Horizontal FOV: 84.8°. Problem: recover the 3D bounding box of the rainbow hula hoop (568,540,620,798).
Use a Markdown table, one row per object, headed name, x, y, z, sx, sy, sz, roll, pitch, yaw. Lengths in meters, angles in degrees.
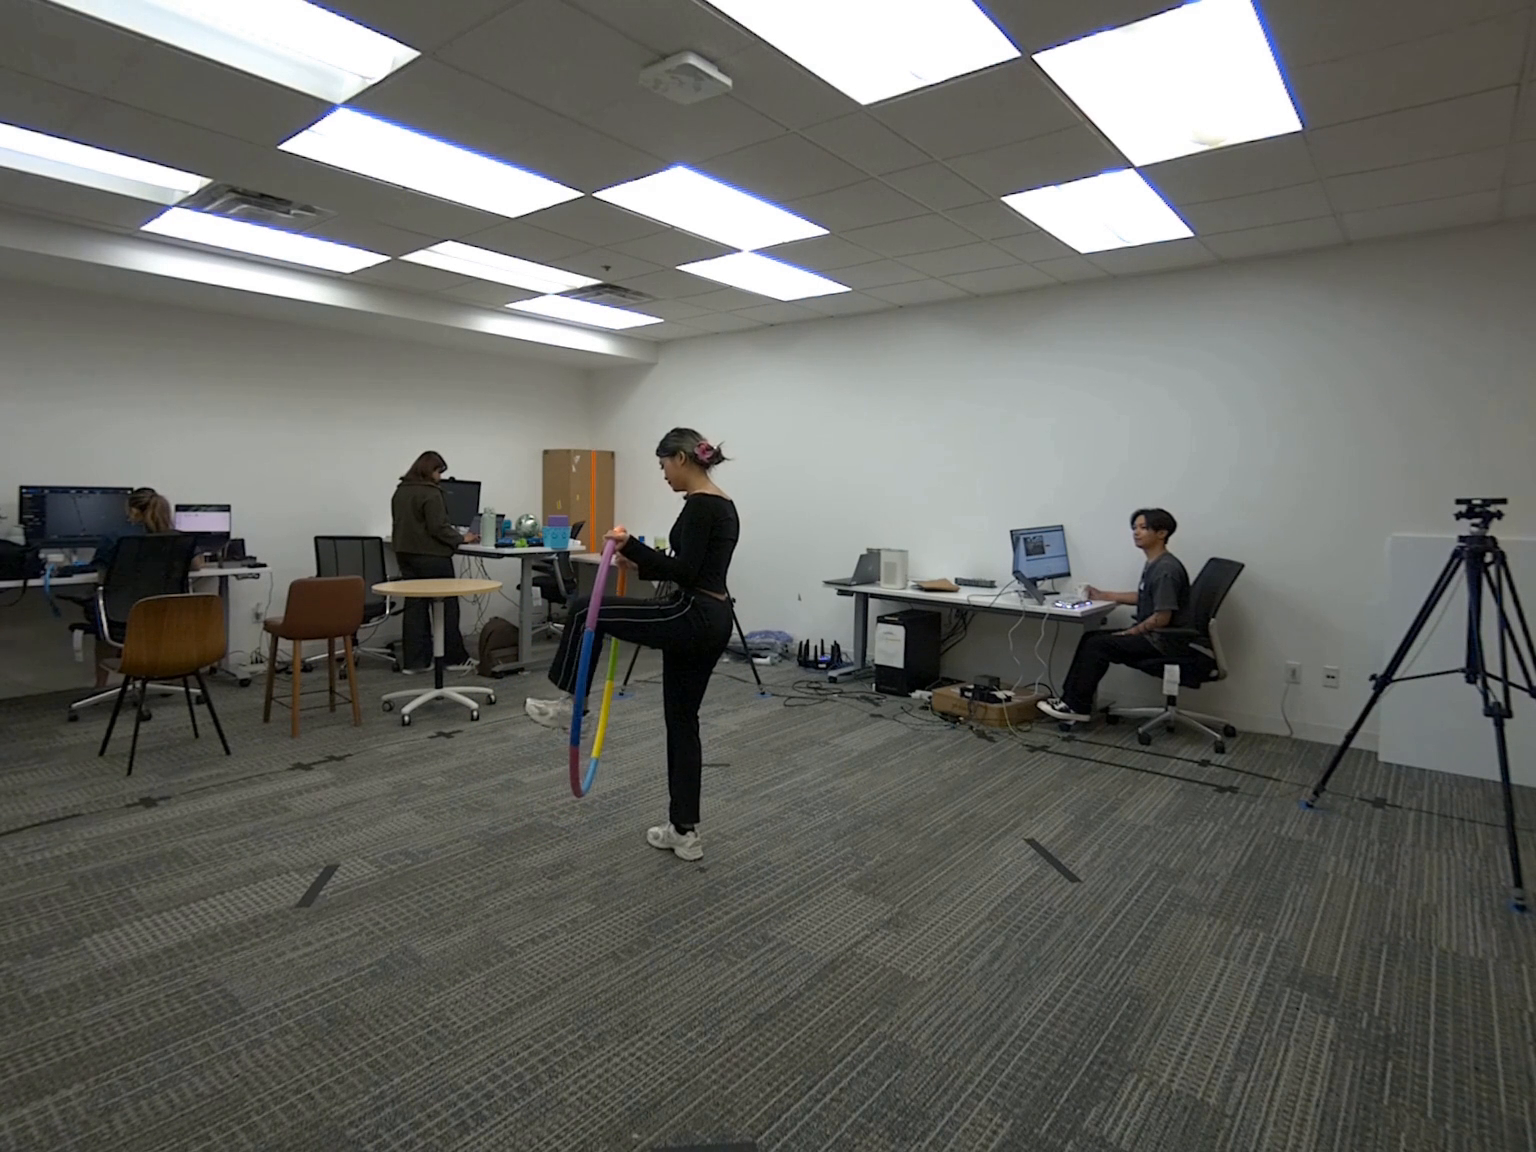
| name | x | y | z | sx | sy | sz | roll | pitch | yaw |
| --- | --- | --- | --- | --- | --- | --- | --- | --- | --- |
| rainbow hula hoop | -0.631 | 0.314 | 3.155 | 0.035 | 0.976 | 0.982 | 8 | 4 | -2 |
